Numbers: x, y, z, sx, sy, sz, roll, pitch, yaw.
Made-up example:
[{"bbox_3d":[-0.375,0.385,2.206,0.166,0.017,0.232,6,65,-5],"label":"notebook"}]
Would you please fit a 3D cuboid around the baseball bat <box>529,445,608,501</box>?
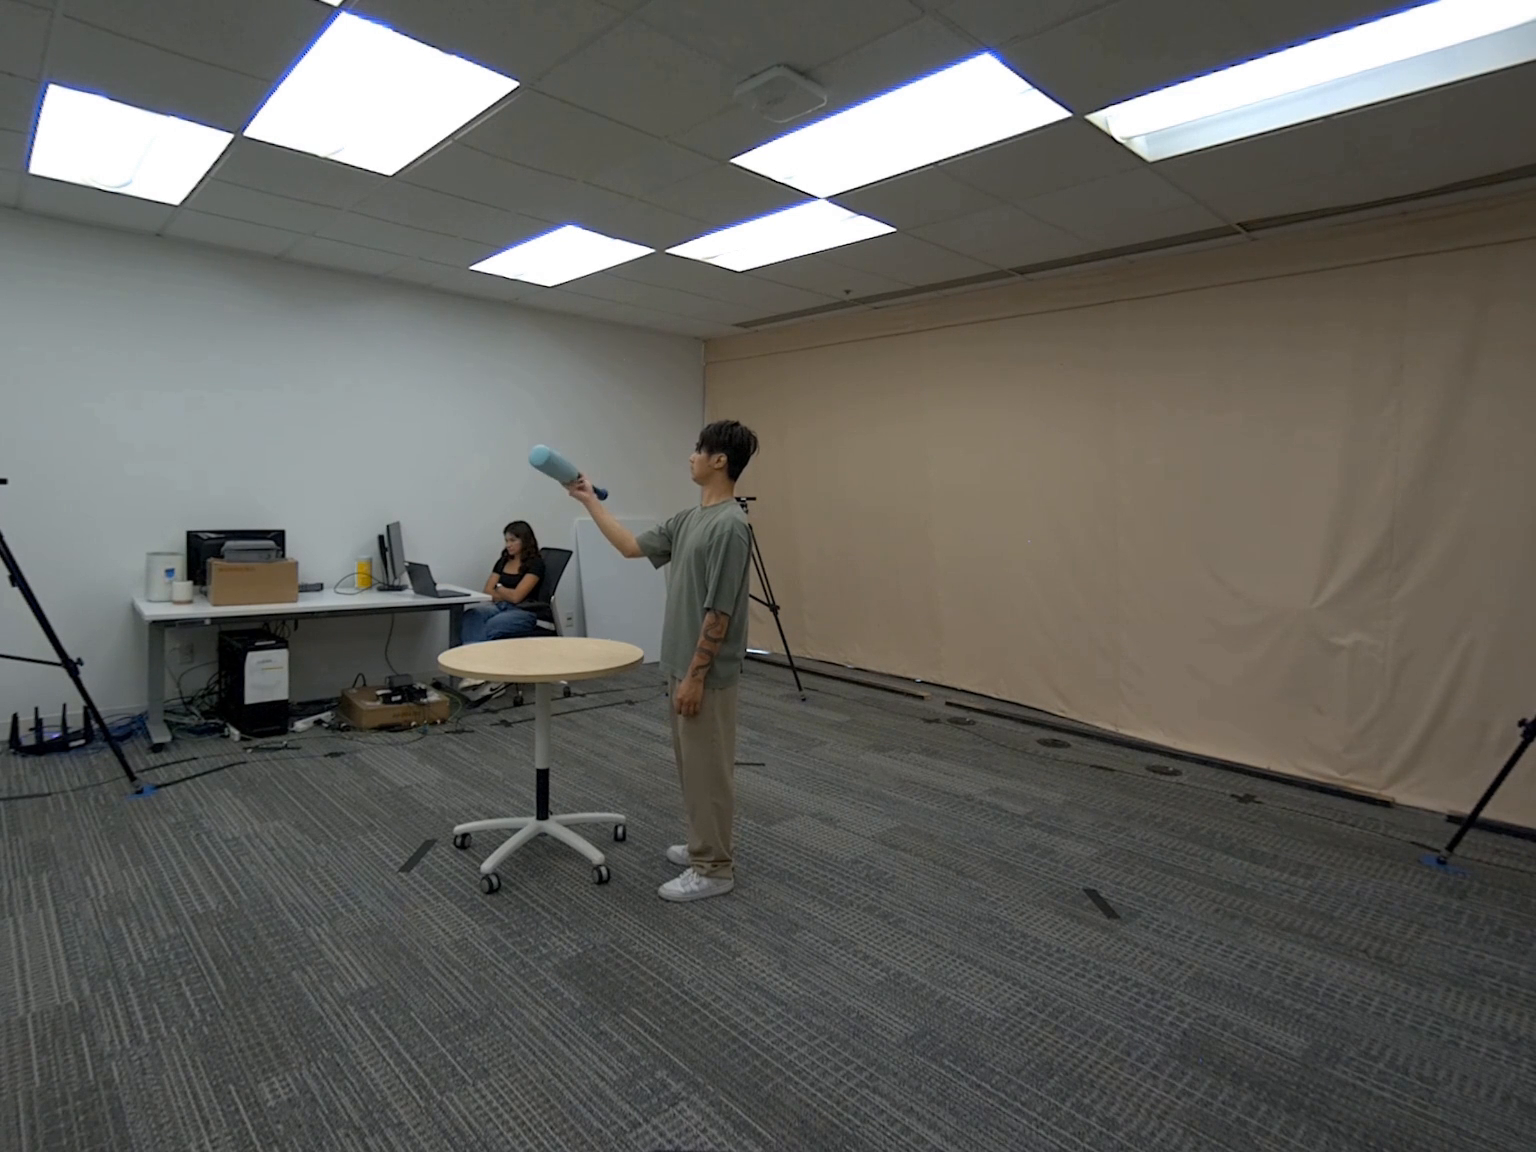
[{"bbox_3d":[-0.748,-0.376,3.206,0.090,0.089,0.532,3,-9,16],"label":"baseball bat"}]
